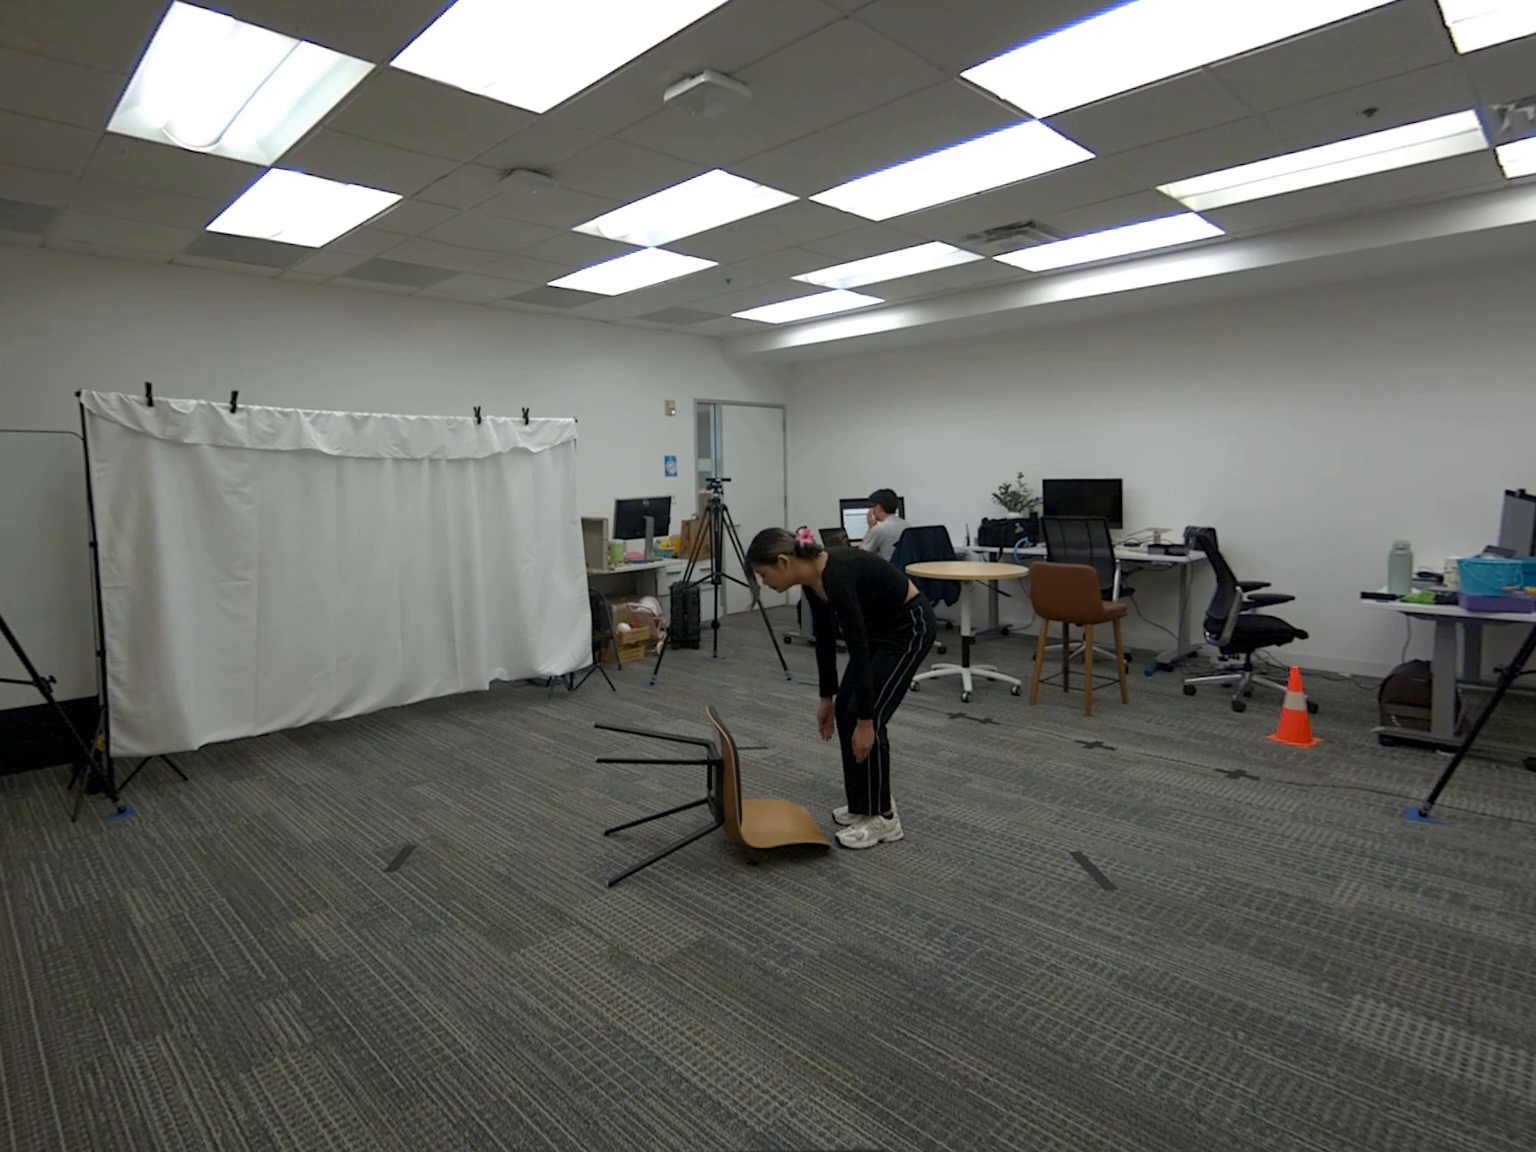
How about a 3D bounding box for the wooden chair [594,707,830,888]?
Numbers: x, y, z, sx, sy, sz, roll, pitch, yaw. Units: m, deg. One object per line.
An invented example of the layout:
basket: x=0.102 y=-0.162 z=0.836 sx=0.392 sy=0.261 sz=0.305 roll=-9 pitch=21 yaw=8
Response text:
wooden chair: x=-0.202 y=0.773 z=3.208 sx=0.869 sy=0.521 sz=0.485 roll=-1 pitch=5 yaw=-10
